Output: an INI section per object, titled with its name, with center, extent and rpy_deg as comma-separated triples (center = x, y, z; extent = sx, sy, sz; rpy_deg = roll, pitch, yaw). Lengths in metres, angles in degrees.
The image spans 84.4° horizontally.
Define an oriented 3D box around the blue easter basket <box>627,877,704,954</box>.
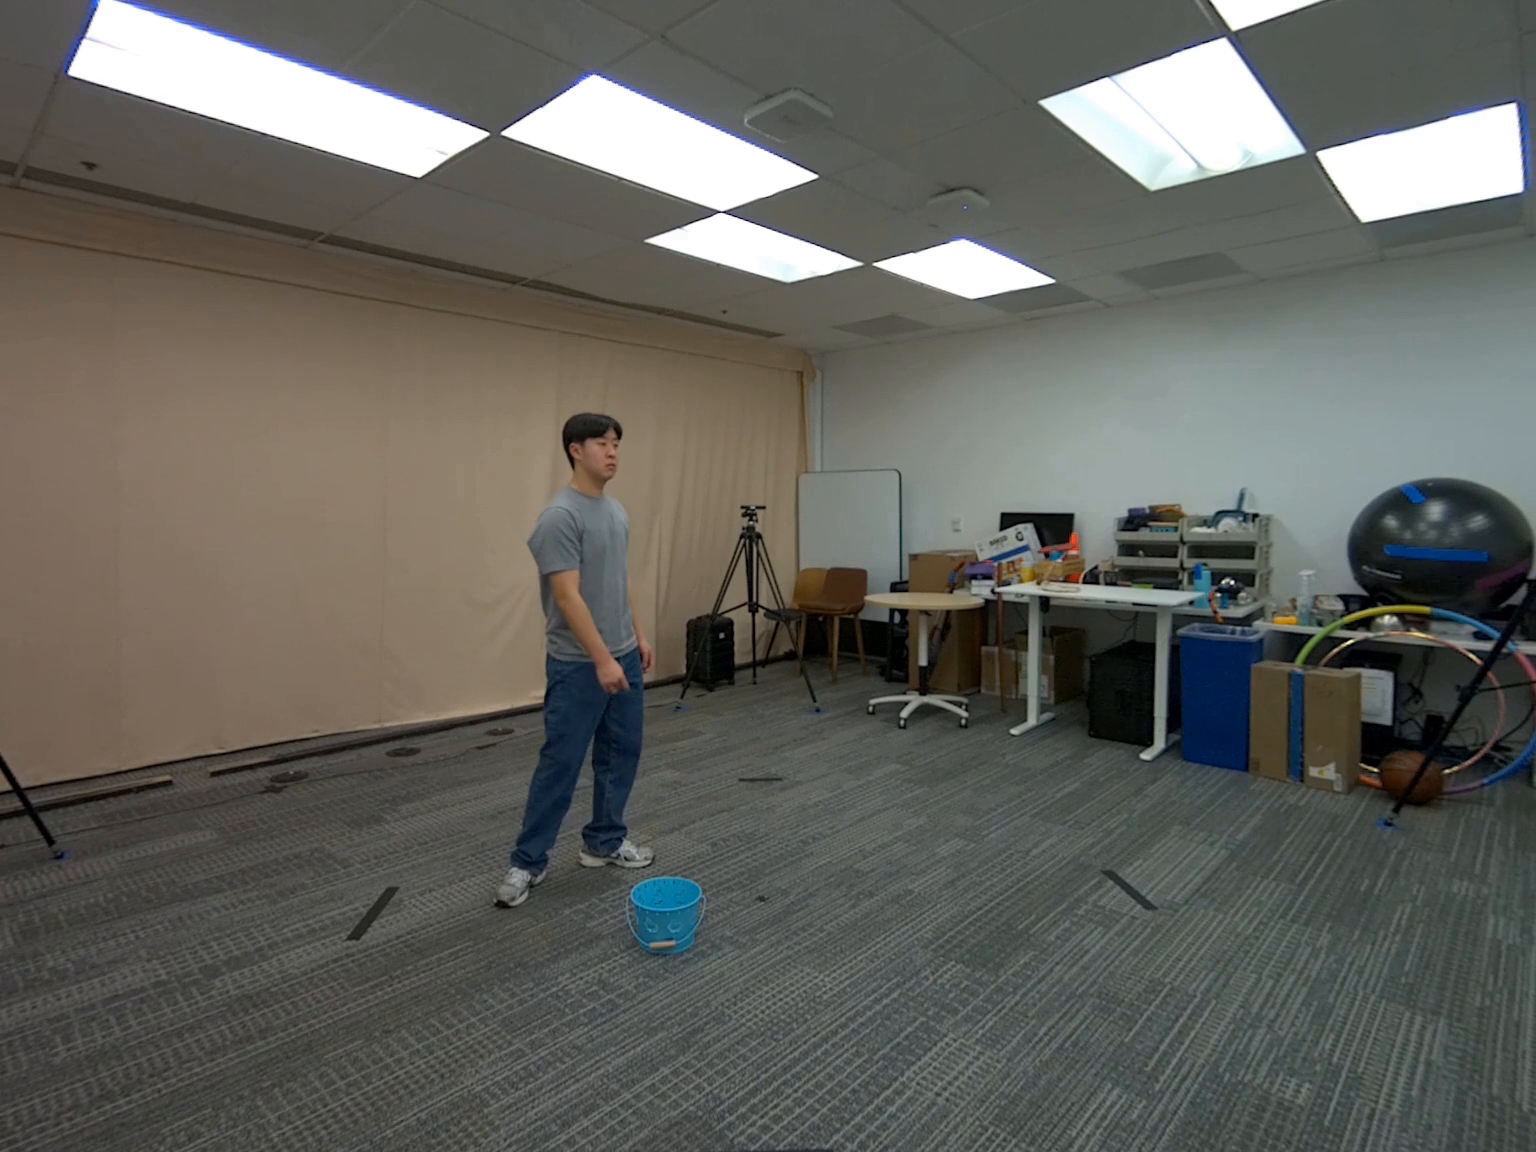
[blue easter basket]
center = -0.327, 1.092, 2.699
extent = 0.243, 0.155, 0.244
rpy_deg = 0, 4, -2
